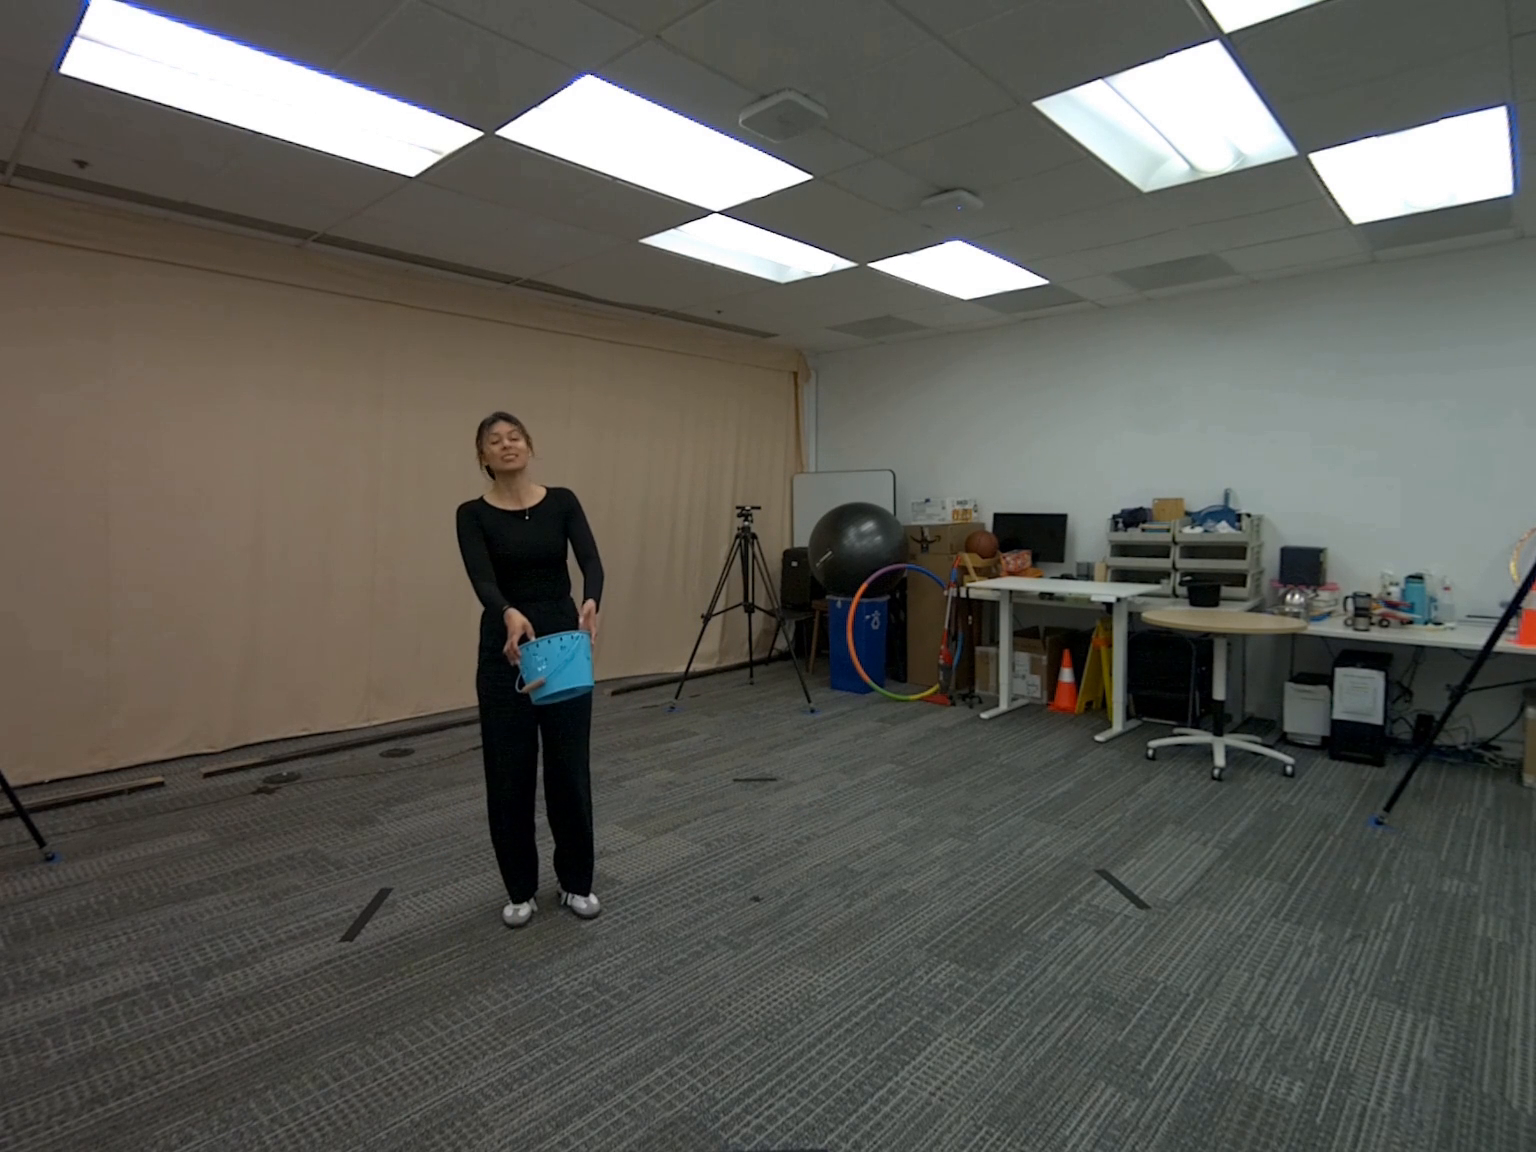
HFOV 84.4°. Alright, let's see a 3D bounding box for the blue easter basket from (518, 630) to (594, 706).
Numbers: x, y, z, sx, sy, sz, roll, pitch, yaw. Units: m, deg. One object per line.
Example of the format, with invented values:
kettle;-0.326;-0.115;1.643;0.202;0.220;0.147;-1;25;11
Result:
blue easter basket;-0.617;0.268;2.406;0.242;0.158;0.241;-14;-14;-6
